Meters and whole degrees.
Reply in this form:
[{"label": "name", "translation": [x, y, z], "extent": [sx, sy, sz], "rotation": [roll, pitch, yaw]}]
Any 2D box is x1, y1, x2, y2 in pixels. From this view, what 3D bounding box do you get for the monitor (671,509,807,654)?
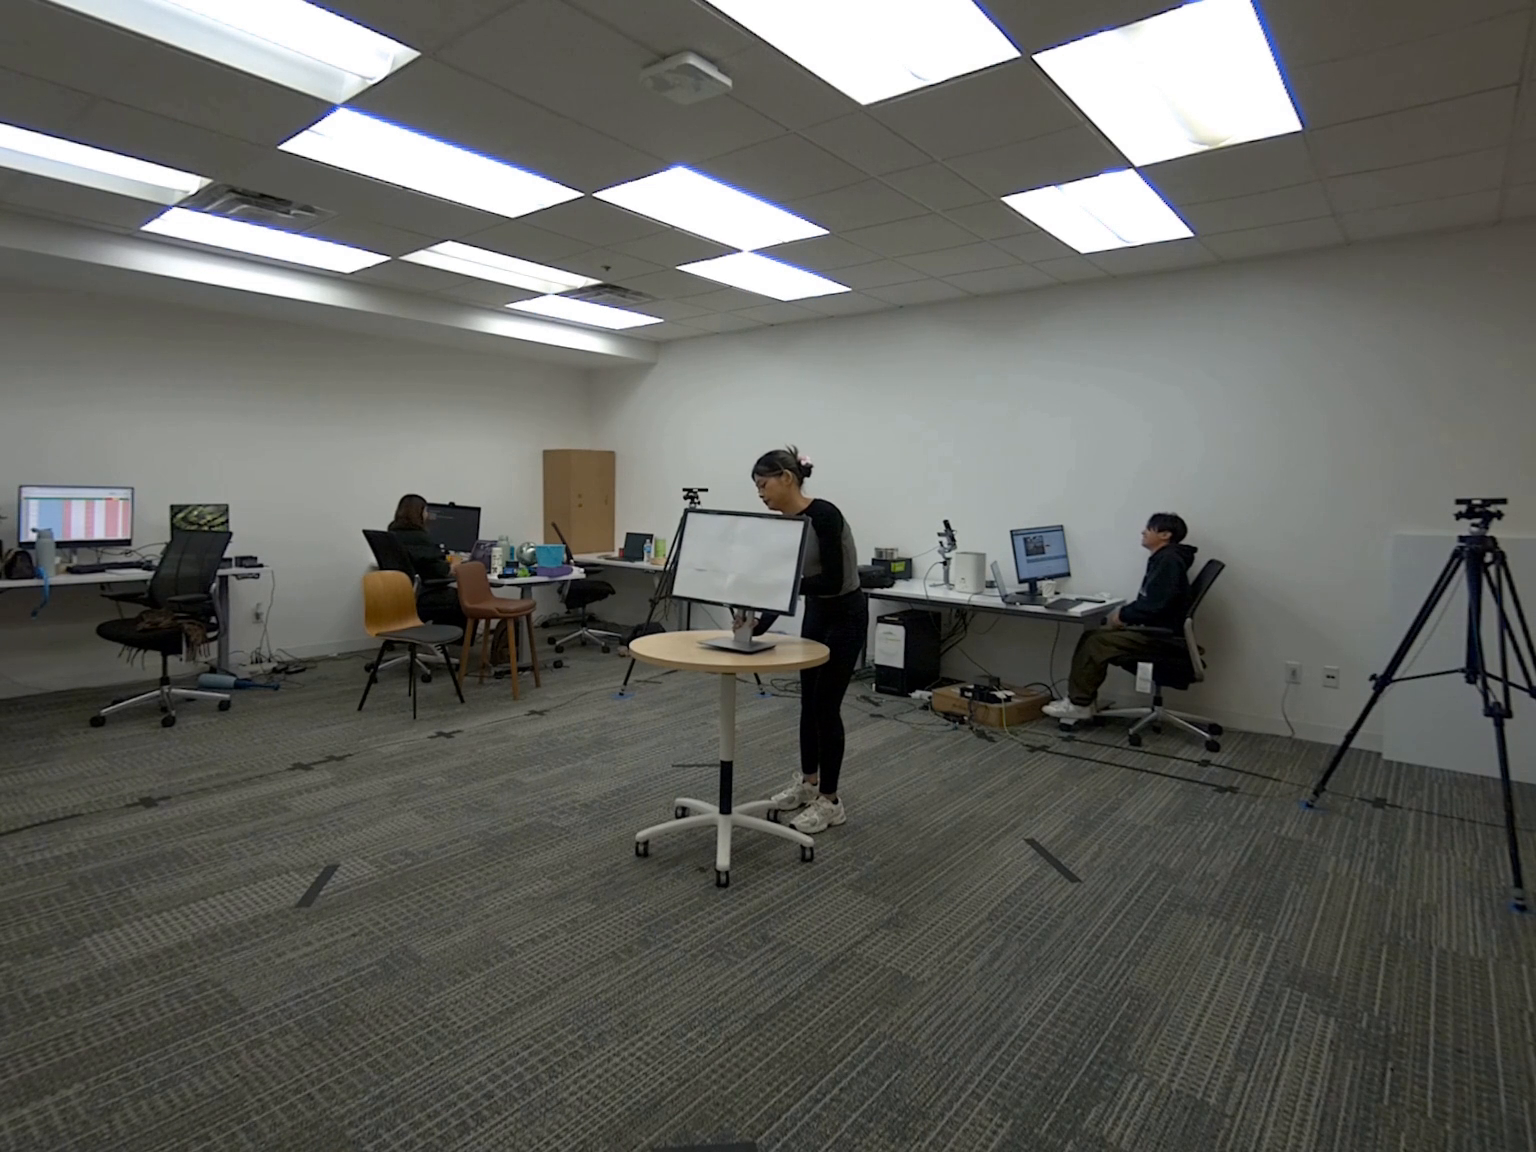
[{"label": "monitor", "translation": [-0.108, 0.016, 3.214], "extent": [0.556, 0.521, 0.182], "rotation": [5, 4, 31]}]
